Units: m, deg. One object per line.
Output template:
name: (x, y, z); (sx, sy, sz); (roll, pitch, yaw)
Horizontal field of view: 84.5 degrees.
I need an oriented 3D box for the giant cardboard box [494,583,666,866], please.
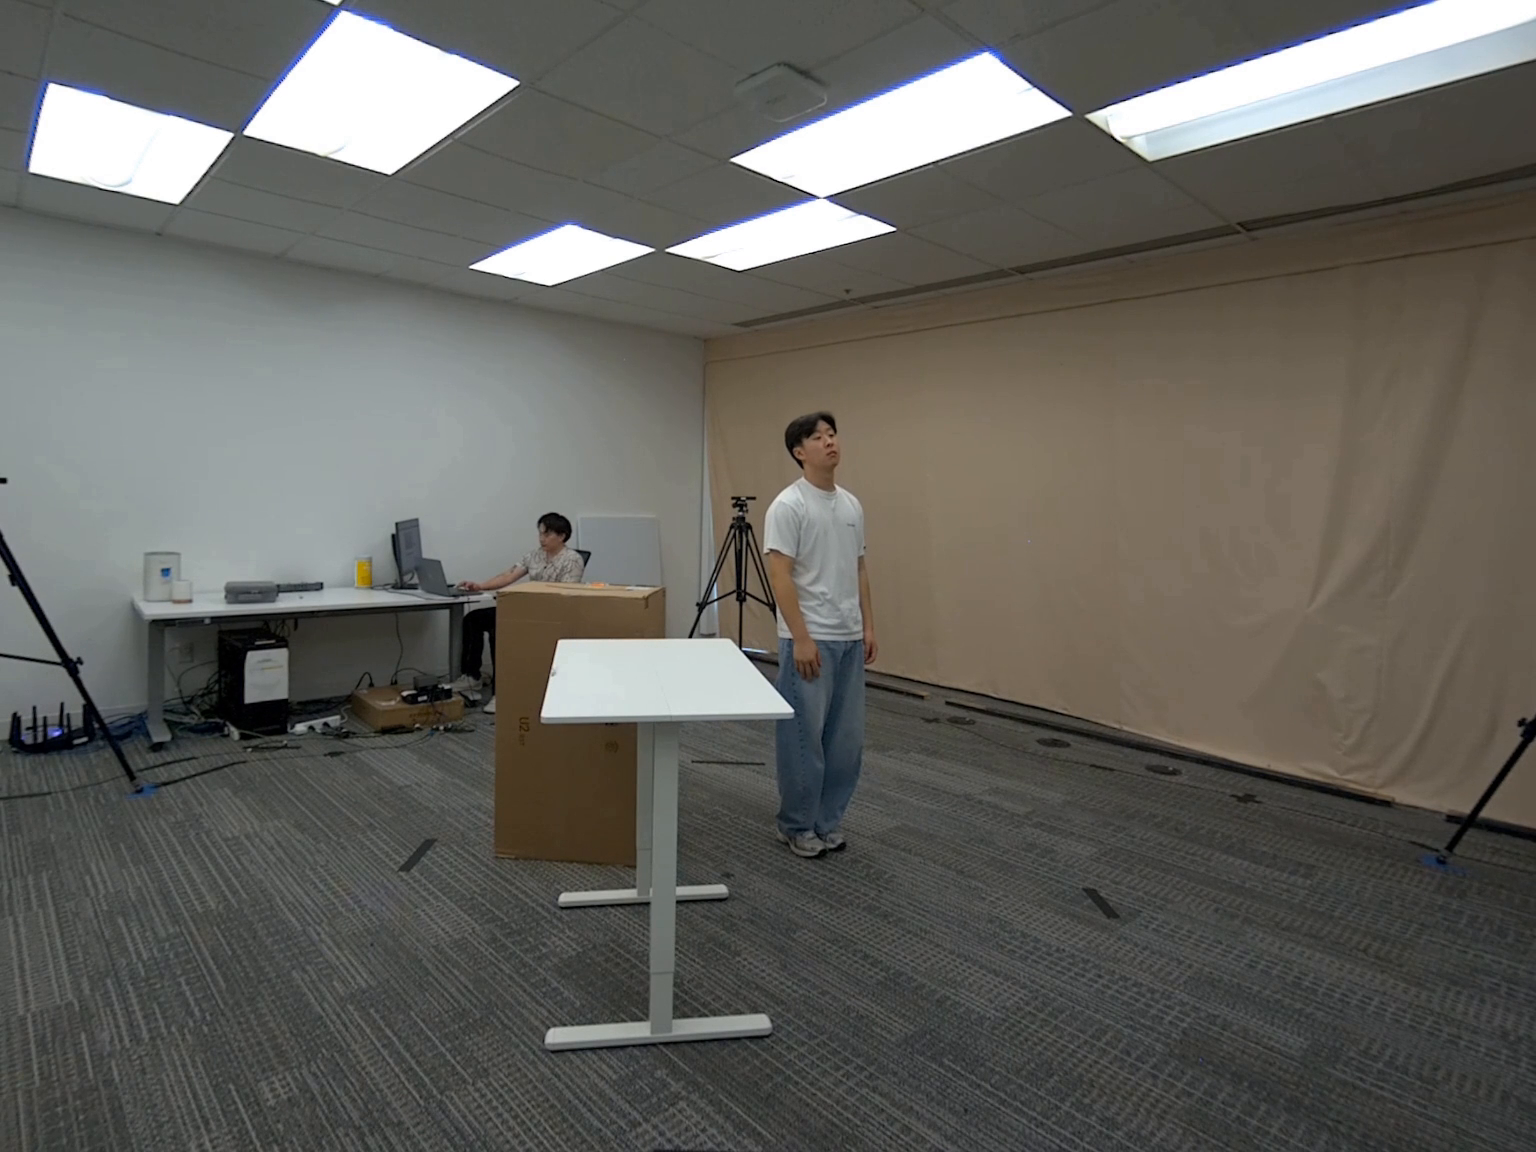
giant cardboard box: (-0.747, 0.561, 3.370); (0.580, 1.024, 0.425); (2, 3, 6)
